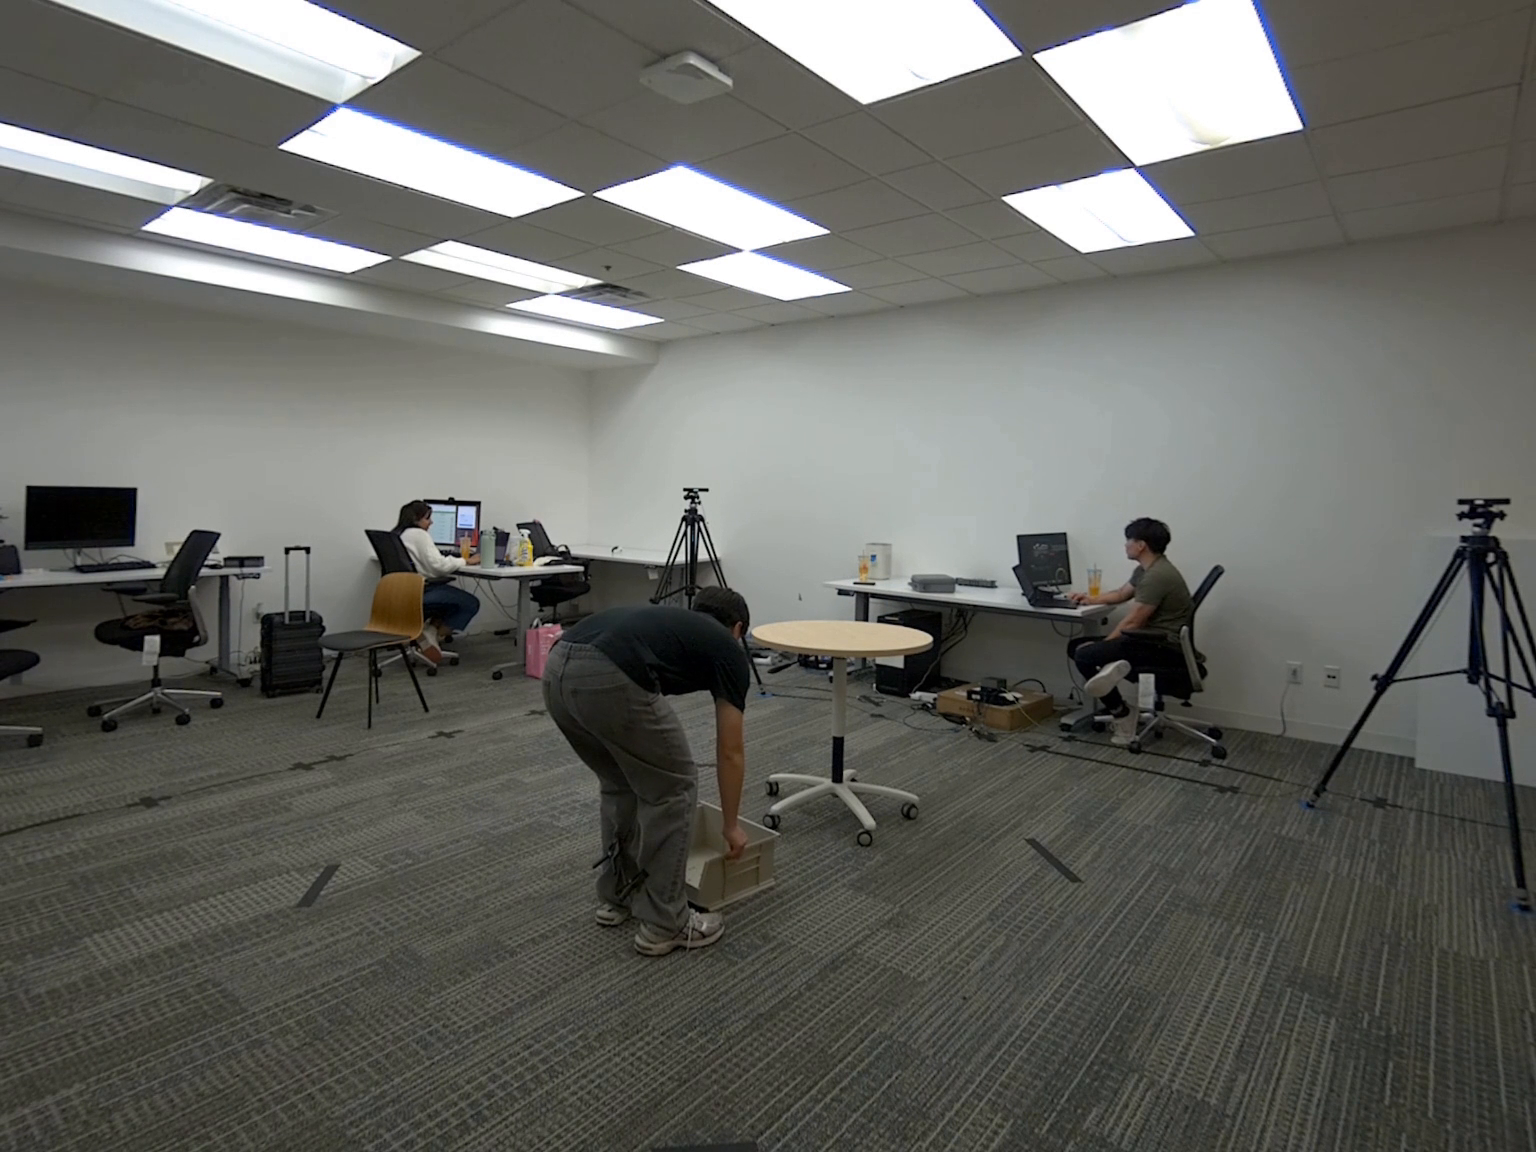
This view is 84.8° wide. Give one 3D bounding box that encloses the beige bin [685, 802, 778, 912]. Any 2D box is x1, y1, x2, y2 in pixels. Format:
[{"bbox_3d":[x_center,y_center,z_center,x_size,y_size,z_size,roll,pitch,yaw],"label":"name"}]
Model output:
[{"bbox_3d":[-0.246,0.984,3.028,0.437,0.188,0.366,5,5,45],"label":"beige bin"}]
